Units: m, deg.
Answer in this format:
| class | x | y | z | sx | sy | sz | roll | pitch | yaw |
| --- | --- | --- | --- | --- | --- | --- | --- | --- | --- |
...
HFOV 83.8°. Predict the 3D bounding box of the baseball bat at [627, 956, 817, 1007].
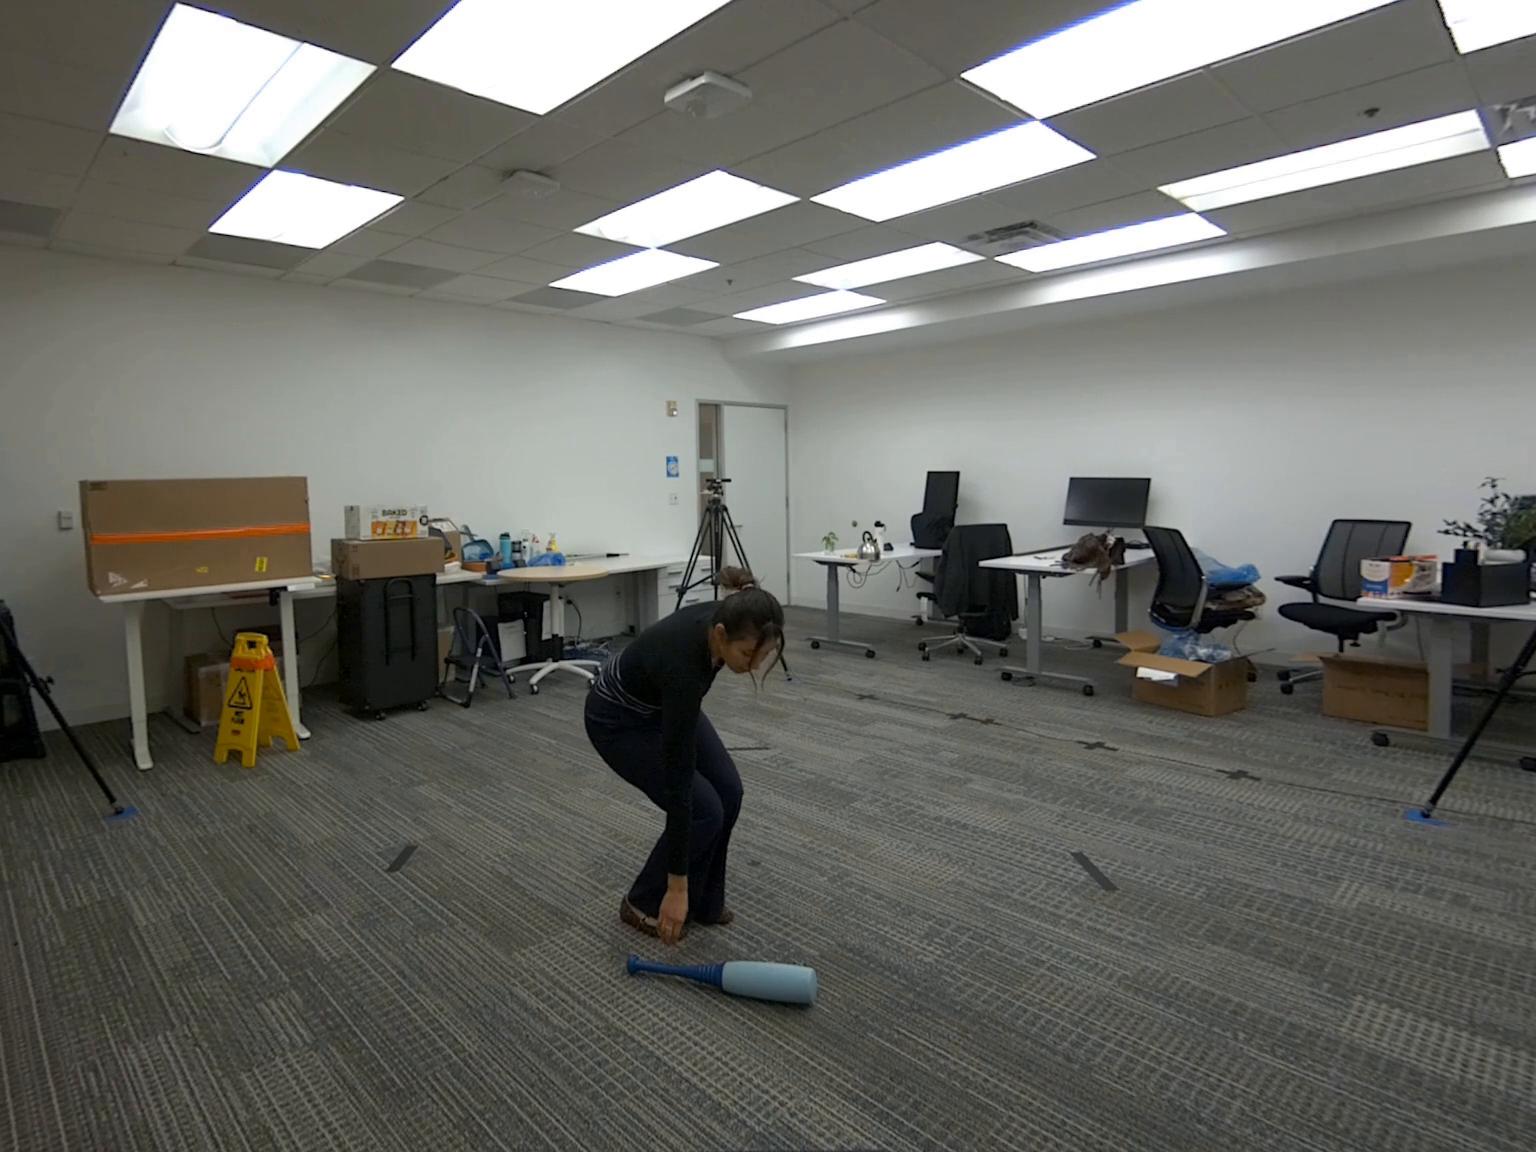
| class | x | y | z | sx | sy | sz | roll | pitch | yaw |
| --- | --- | --- | --- | --- | --- | --- | --- | --- | --- |
| baseball bat | -0.132 | 1.097 | 2.352 | 0.552 | 0.089 | 0.088 | -3 | 4 | 18 |
